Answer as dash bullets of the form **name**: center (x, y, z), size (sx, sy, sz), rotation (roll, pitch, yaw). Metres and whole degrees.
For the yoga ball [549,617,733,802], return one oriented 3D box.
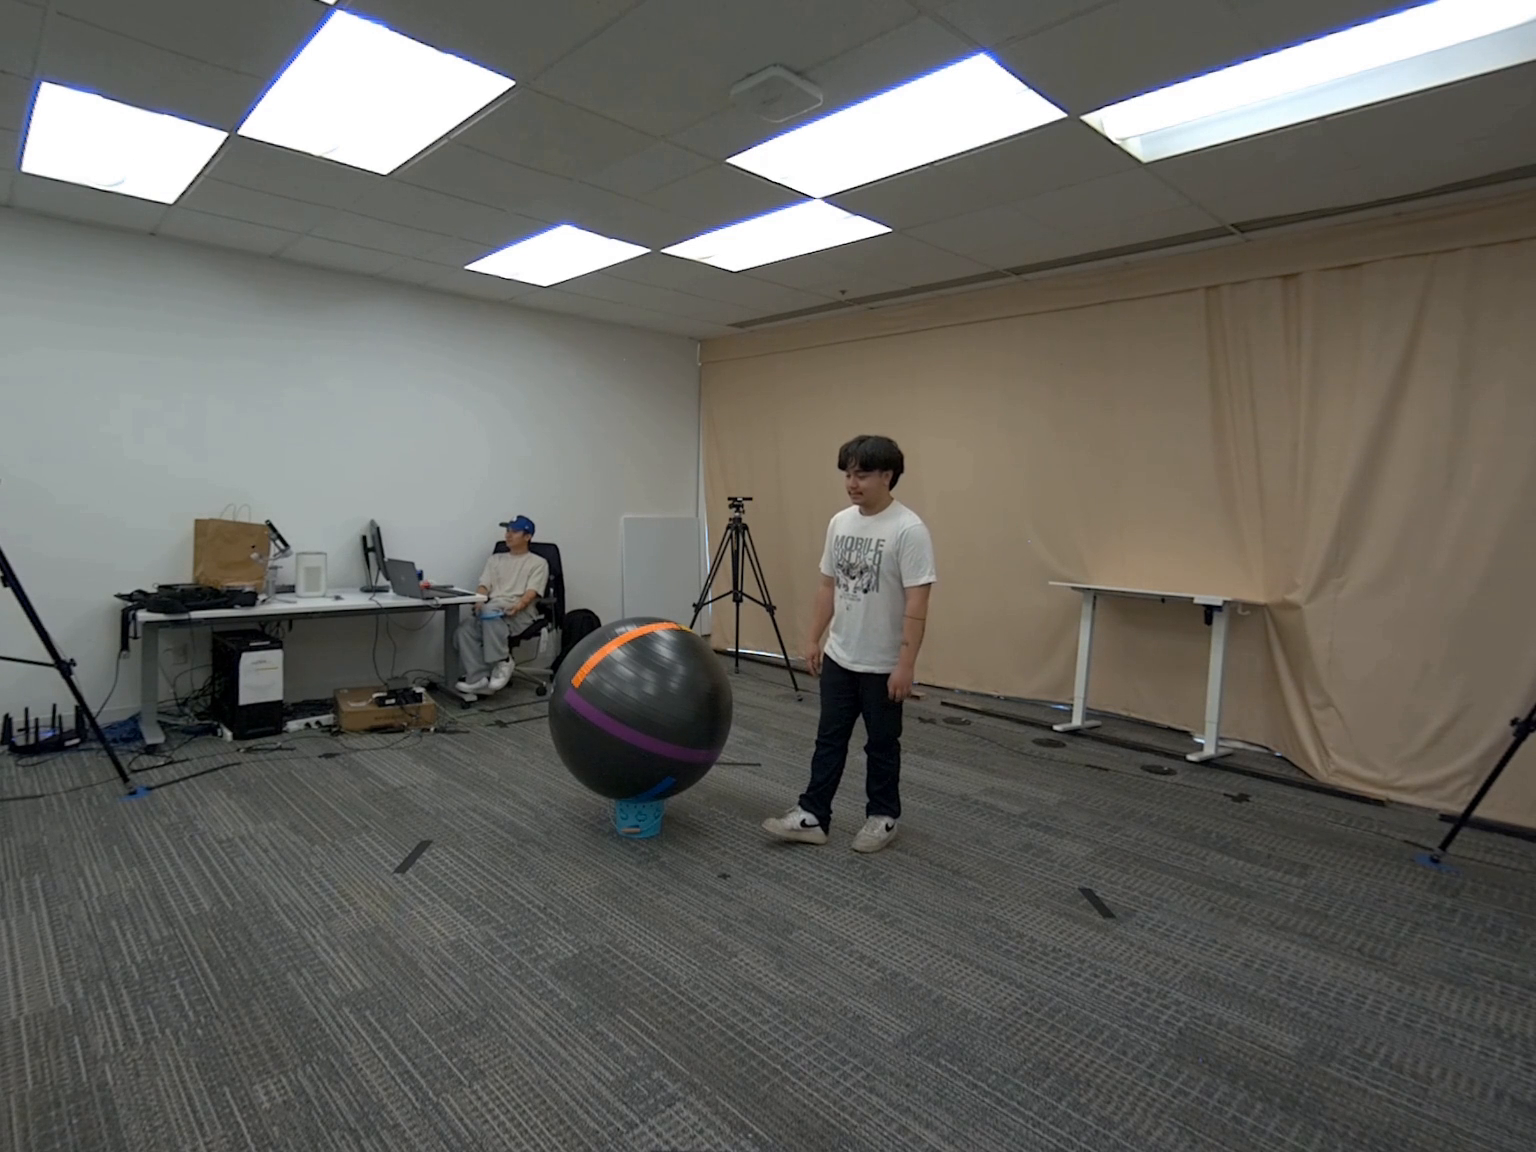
- **yoga ball**: center (-0.541, 0.550, 3.508), size (0.757, 0.756, 0.761), rotation (1, 4, -1)
